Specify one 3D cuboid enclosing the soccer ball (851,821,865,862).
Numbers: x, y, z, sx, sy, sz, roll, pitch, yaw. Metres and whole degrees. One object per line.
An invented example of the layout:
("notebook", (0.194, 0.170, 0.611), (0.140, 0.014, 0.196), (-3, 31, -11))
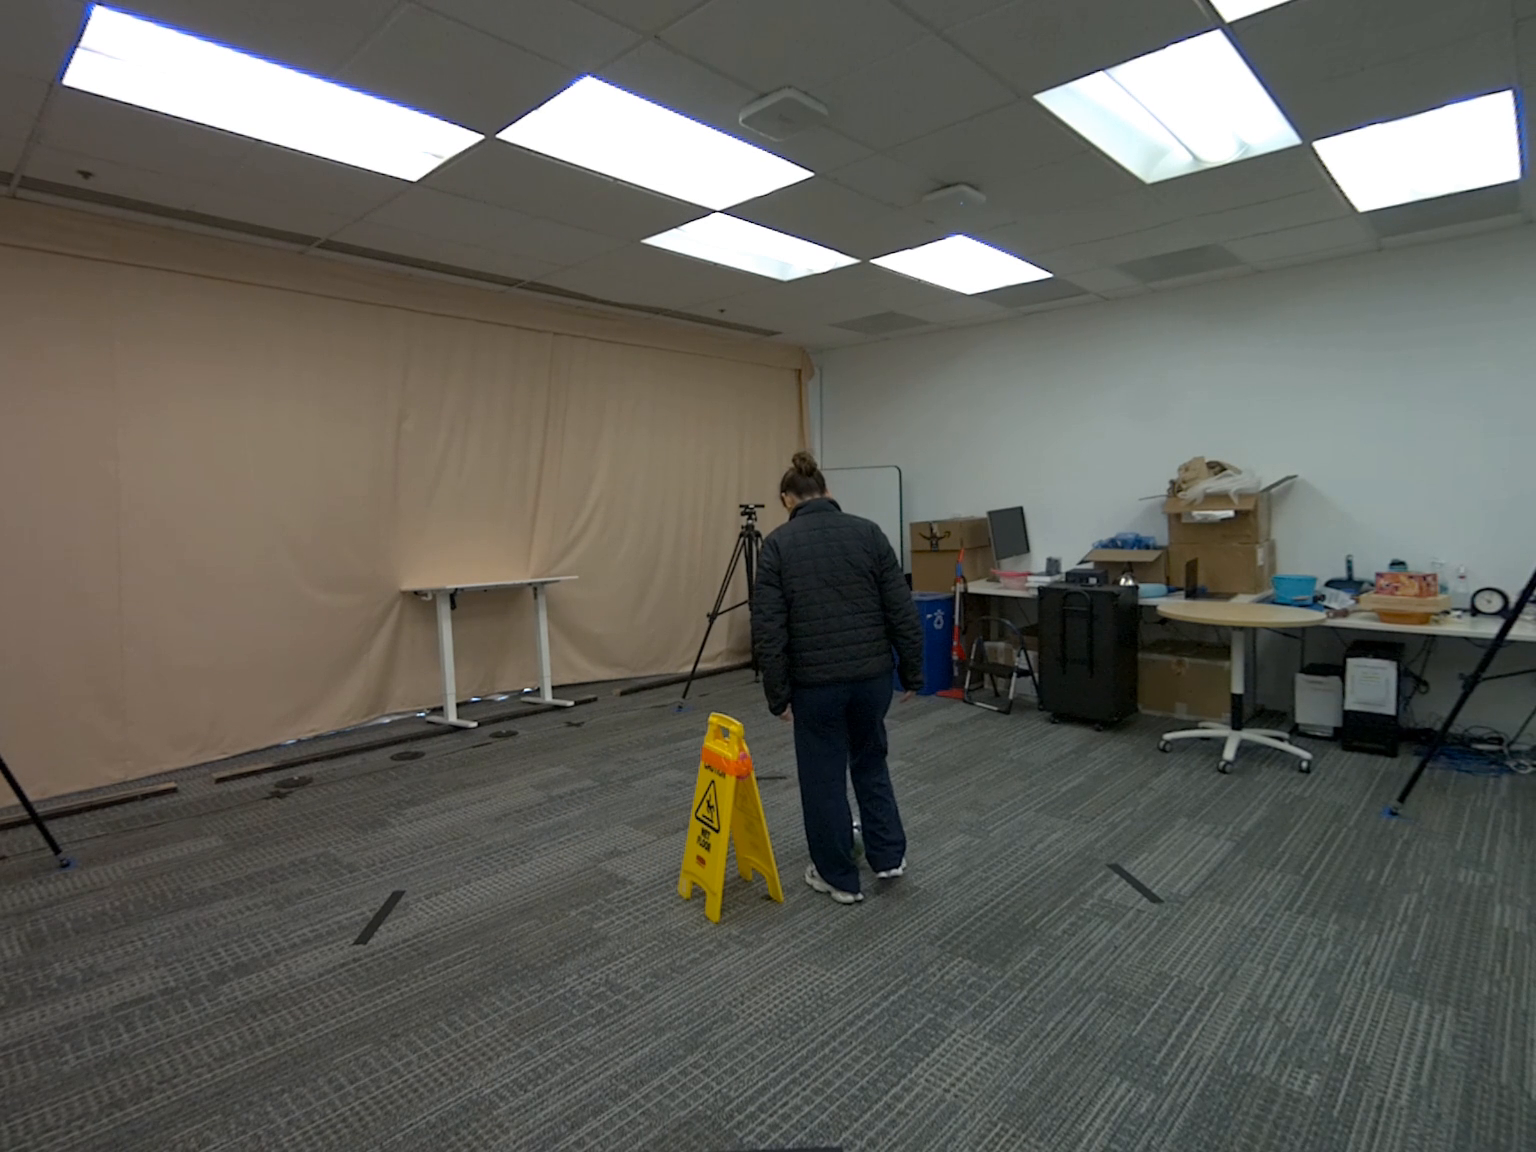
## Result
("soccer ball", (0.300, 1.014, 3.274), (0.187, 0.187, 0.188), (-1, 4, -2))
